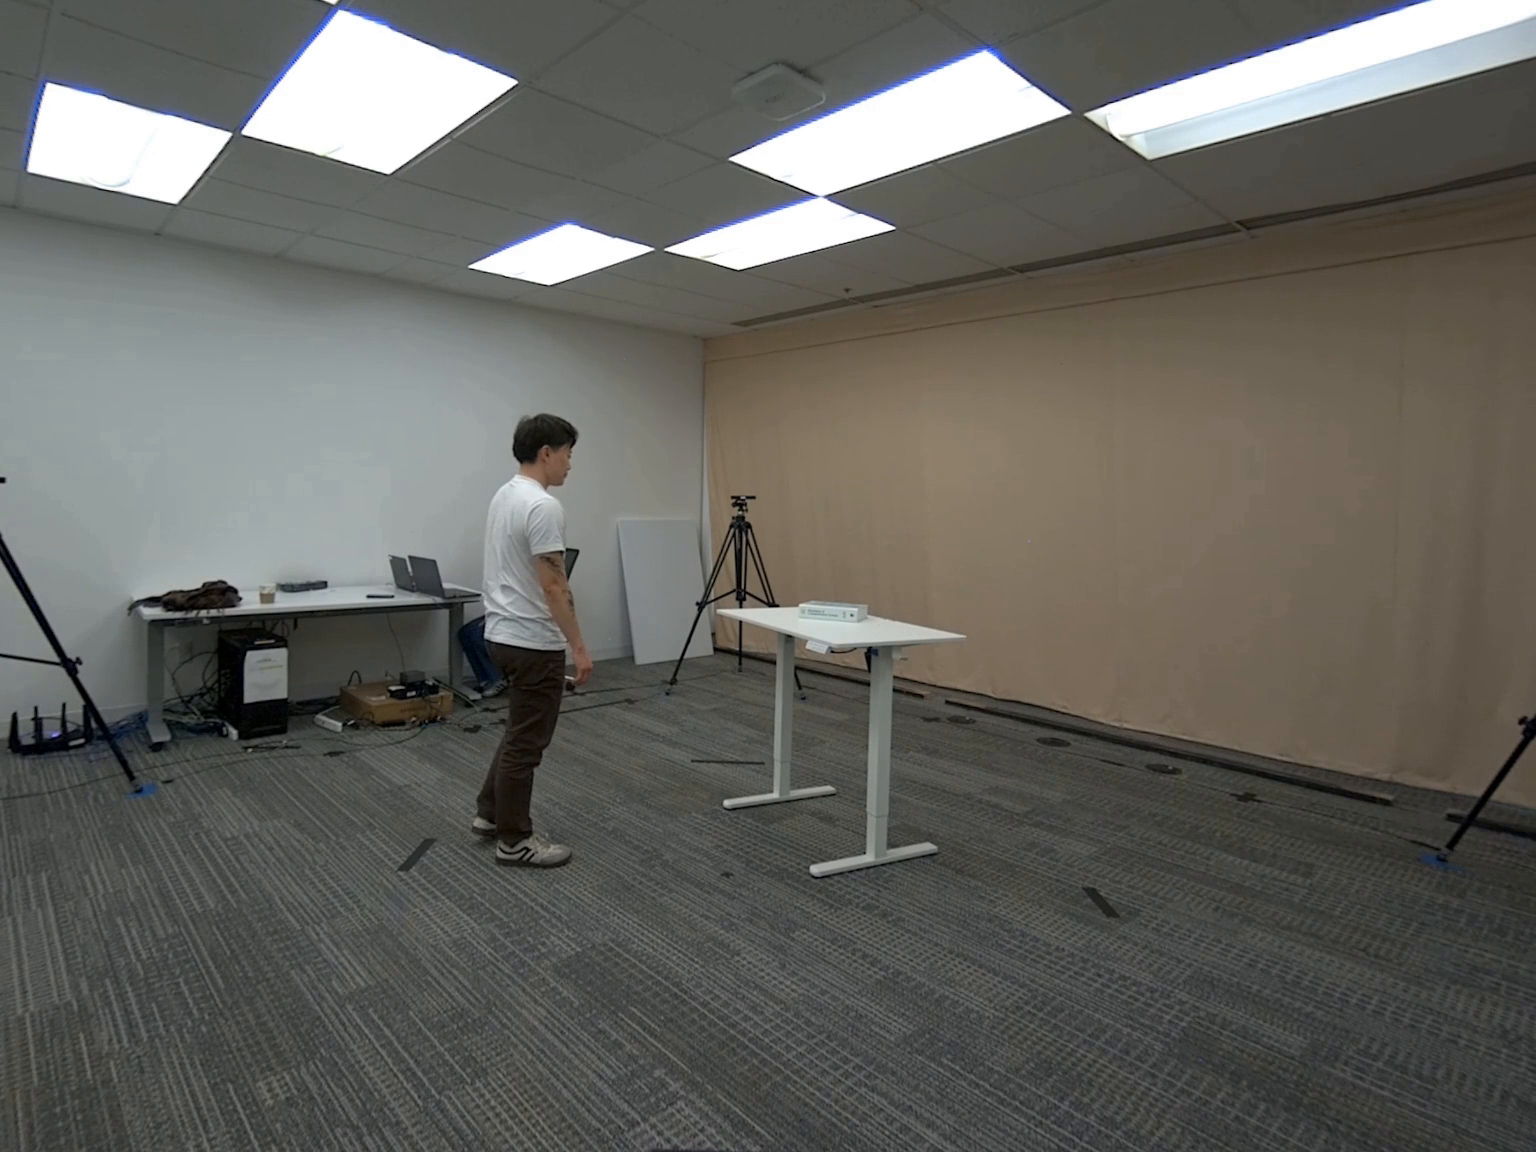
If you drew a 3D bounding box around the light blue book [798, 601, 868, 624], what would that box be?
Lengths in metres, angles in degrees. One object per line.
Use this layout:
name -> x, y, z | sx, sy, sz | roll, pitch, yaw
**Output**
light blue book -> 0.275, 0.154, 3.684 | 0.265, 0.059, 0.189 | 3, 5, 21
